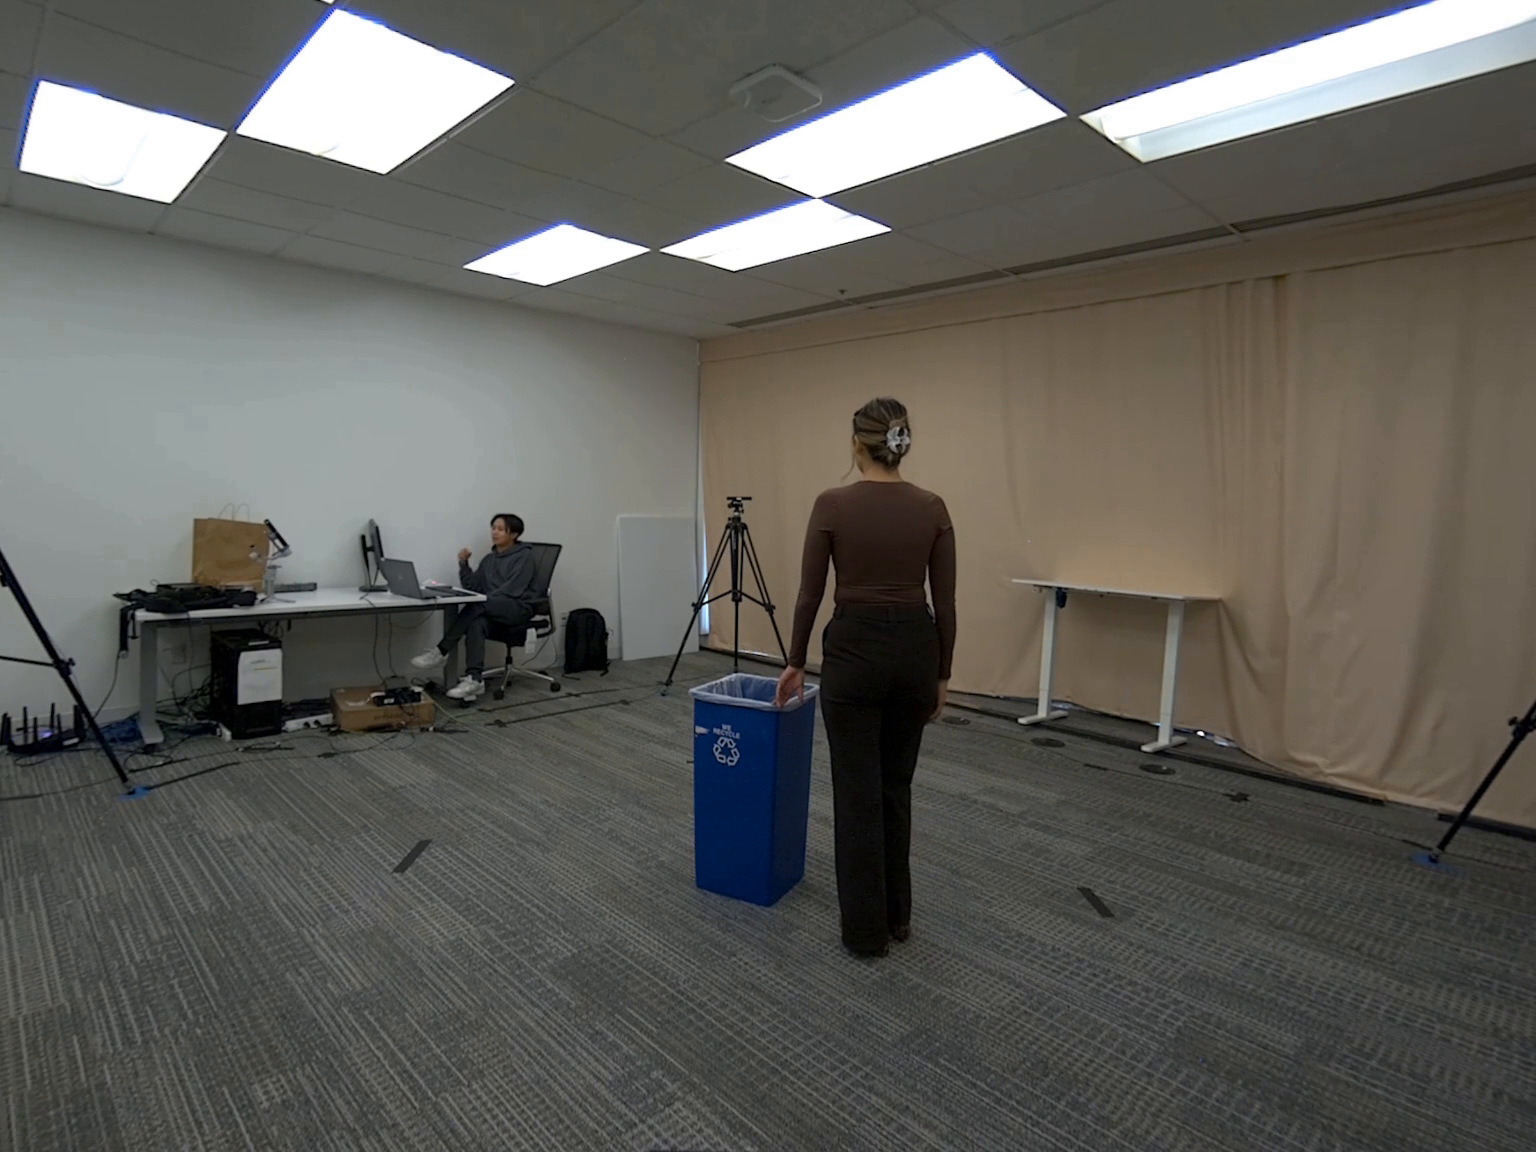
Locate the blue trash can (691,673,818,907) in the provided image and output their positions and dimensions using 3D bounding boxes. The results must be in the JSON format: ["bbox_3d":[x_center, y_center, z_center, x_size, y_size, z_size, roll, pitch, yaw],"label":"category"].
[{"bbox_3d":[-0.054,0.754,3.046,0.382,0.712,0.371,3,4,28],"label":"blue trash can"}]
